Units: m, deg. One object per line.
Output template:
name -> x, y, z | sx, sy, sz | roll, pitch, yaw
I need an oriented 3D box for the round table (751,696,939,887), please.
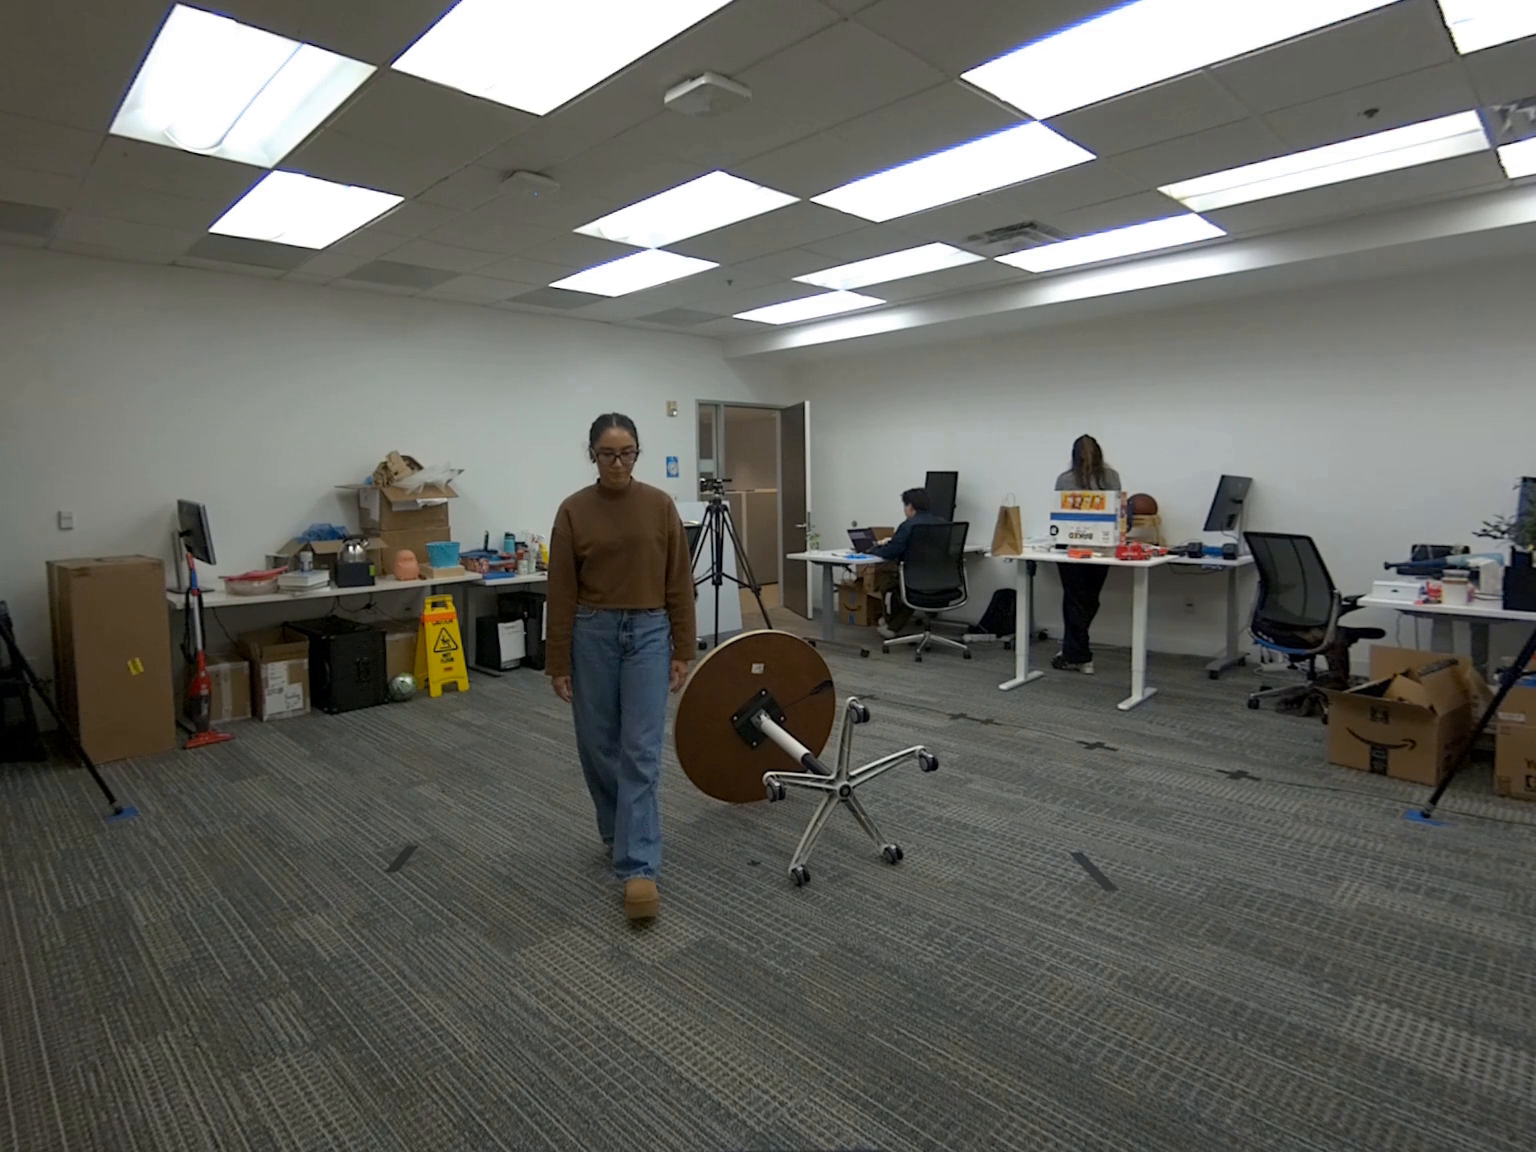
round table -> 0.132, 0.685, 3.301 | 0.748, 0.756, 0.819 | -3, 13, -26
